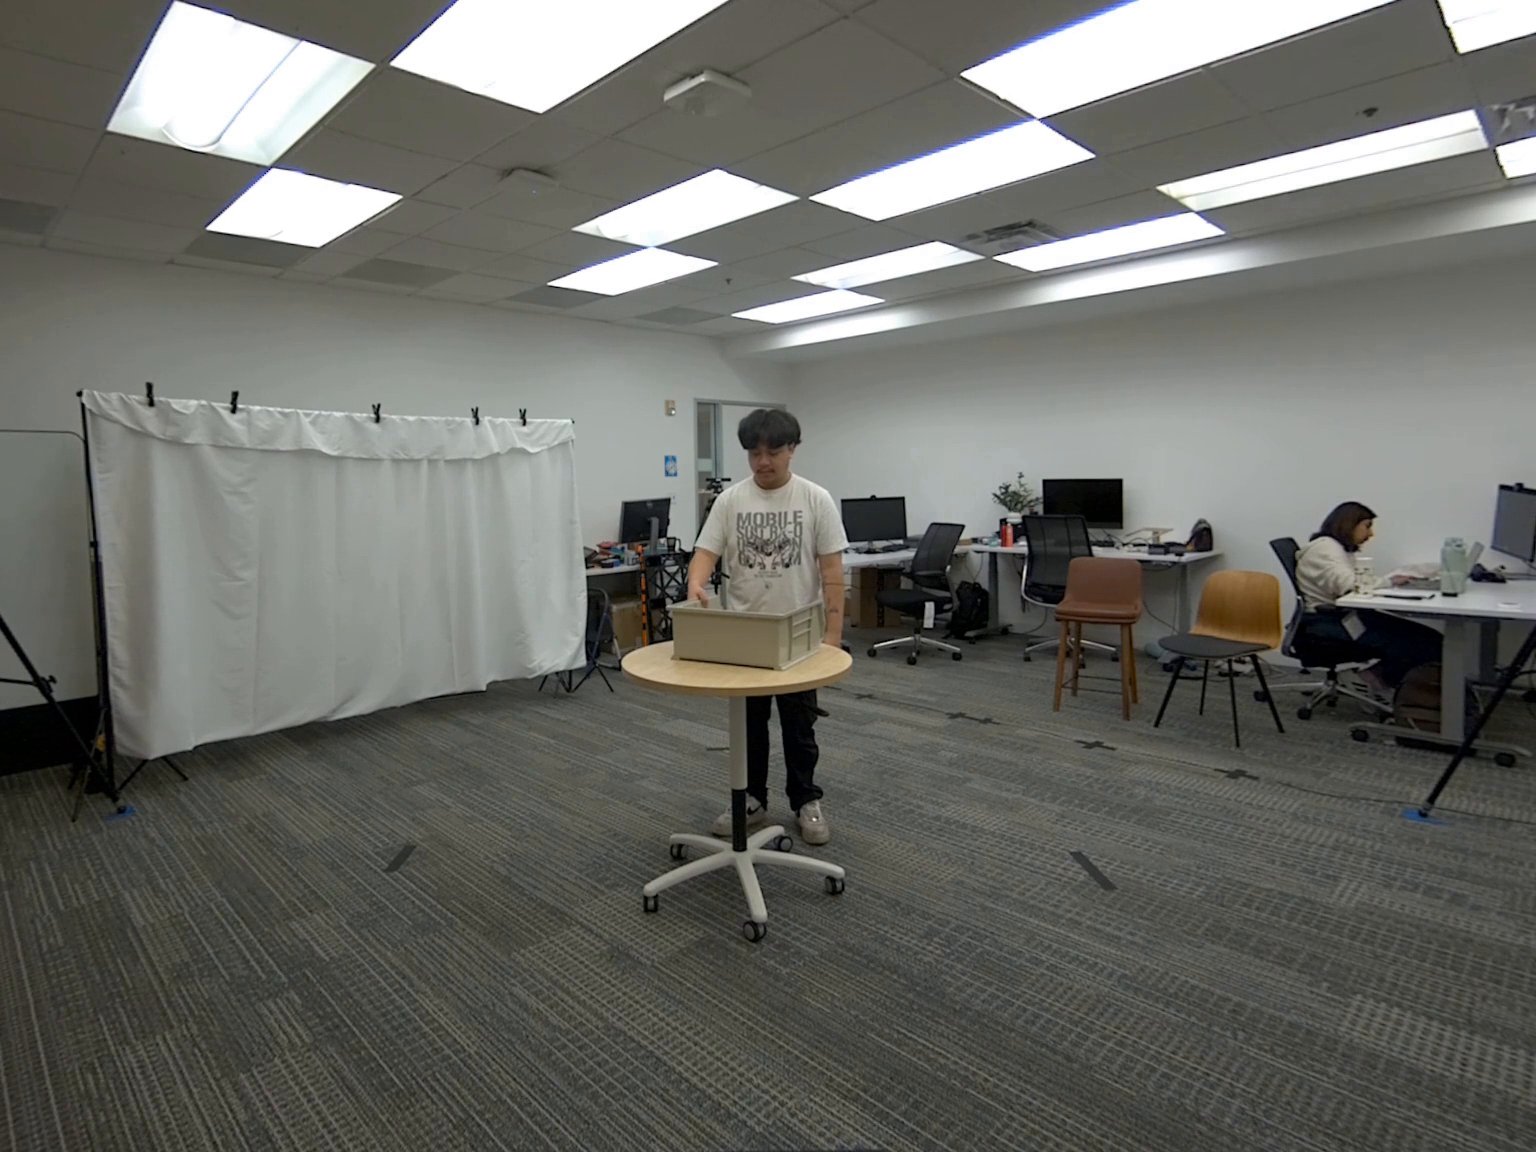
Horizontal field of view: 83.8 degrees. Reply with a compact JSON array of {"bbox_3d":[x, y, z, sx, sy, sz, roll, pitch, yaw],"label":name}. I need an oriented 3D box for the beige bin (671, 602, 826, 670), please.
[{"bbox_3d":[-0.071,0.180,2.901,0.433,0.188,0.370,3,8,27],"label":"beige bin"}]
